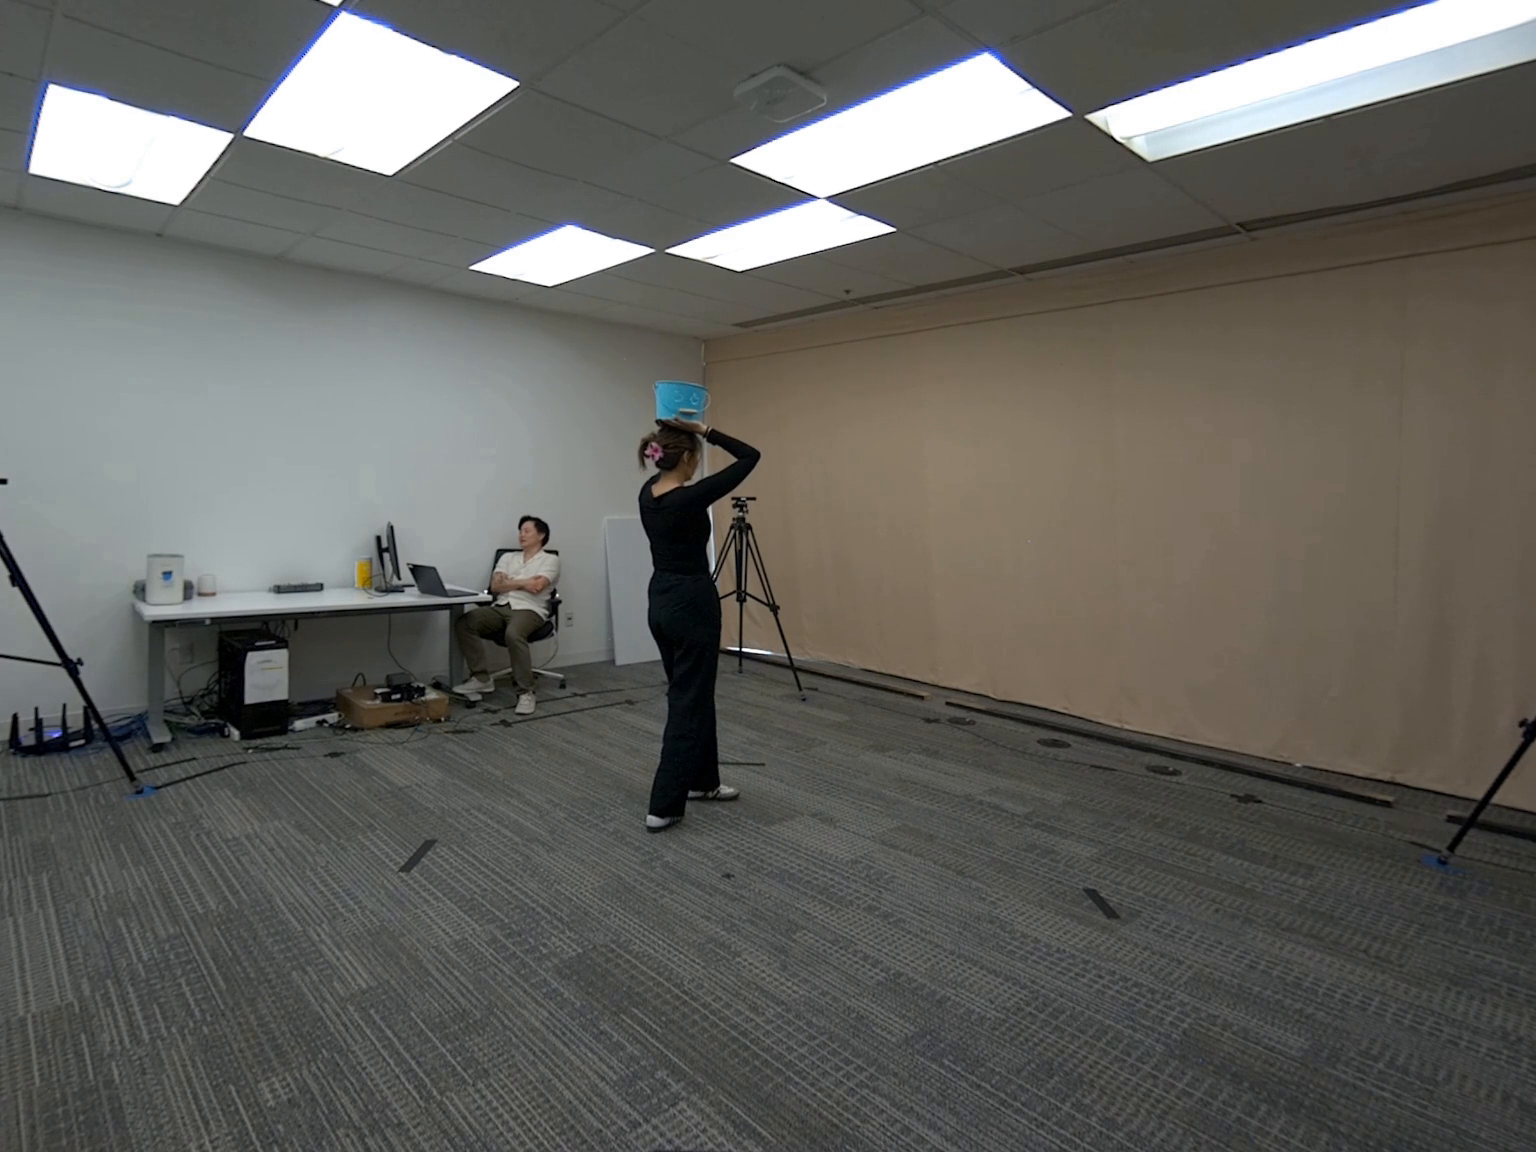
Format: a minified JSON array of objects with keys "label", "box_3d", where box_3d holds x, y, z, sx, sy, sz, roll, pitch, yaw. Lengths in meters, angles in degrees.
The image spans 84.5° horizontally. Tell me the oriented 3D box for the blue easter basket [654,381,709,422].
[{"label":"blue easter basket","box_3d":[-0.392,-0.730,3.585,0.243,0.156,0.244,5,0,-1]}]
